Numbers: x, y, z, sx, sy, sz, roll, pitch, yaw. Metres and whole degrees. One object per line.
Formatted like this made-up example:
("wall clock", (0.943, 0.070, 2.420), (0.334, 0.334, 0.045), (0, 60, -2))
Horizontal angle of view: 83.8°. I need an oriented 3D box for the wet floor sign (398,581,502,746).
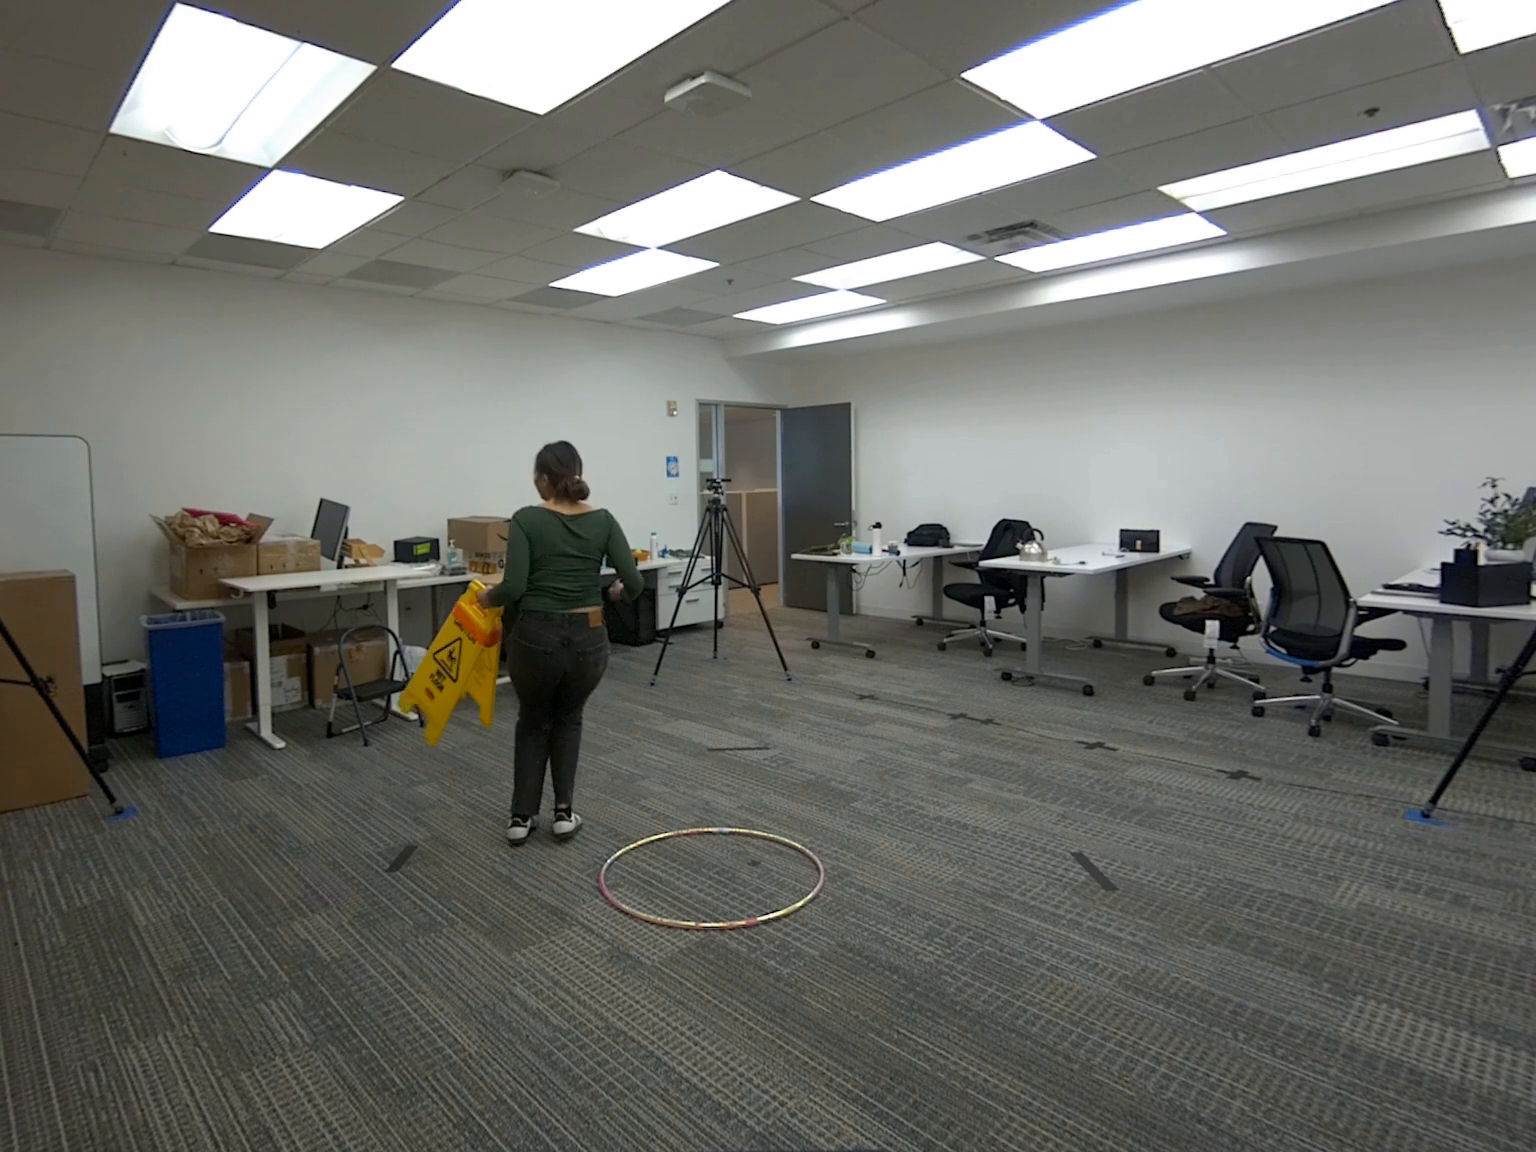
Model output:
("wet floor sign", (-1.194, 0.299, 3.473), (0.291, 0.641, 0.283), (37, 24, 27))
